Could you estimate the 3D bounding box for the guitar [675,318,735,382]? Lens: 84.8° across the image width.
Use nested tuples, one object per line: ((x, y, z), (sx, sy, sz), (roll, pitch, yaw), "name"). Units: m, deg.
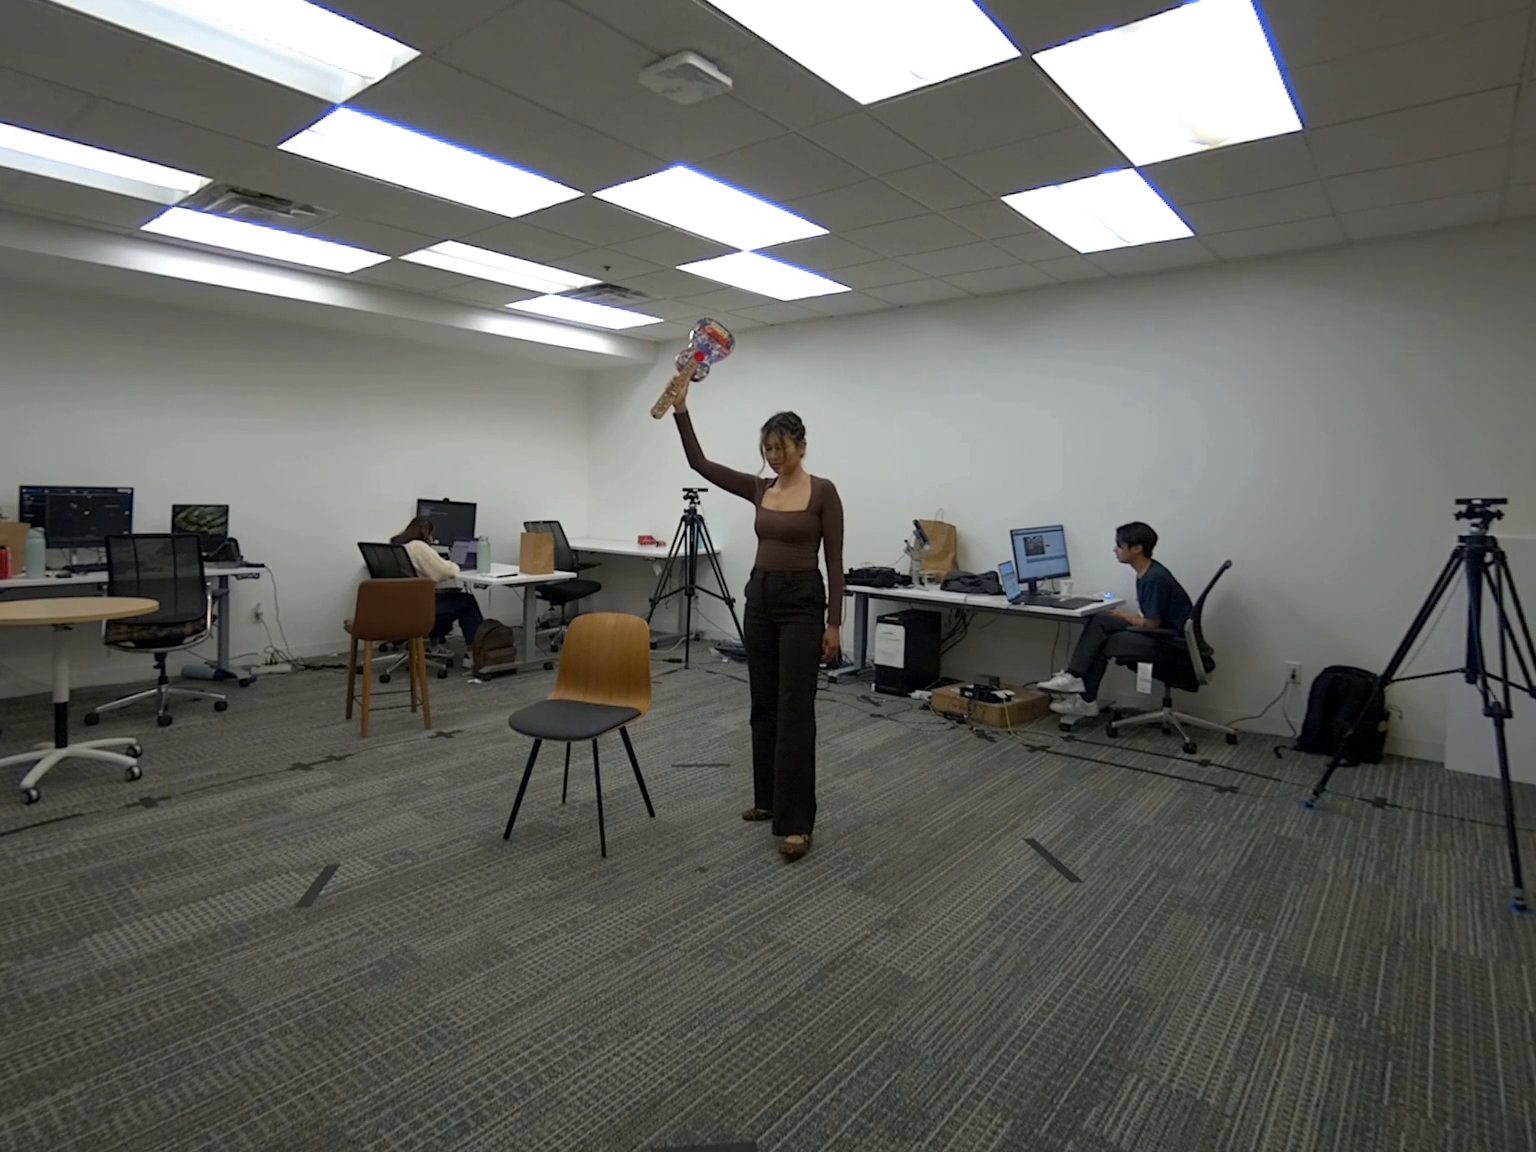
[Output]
((-0.354, -0.878, 3.564), (0.192, 0.498, 0.071), (43, -11, -4), "guitar")
